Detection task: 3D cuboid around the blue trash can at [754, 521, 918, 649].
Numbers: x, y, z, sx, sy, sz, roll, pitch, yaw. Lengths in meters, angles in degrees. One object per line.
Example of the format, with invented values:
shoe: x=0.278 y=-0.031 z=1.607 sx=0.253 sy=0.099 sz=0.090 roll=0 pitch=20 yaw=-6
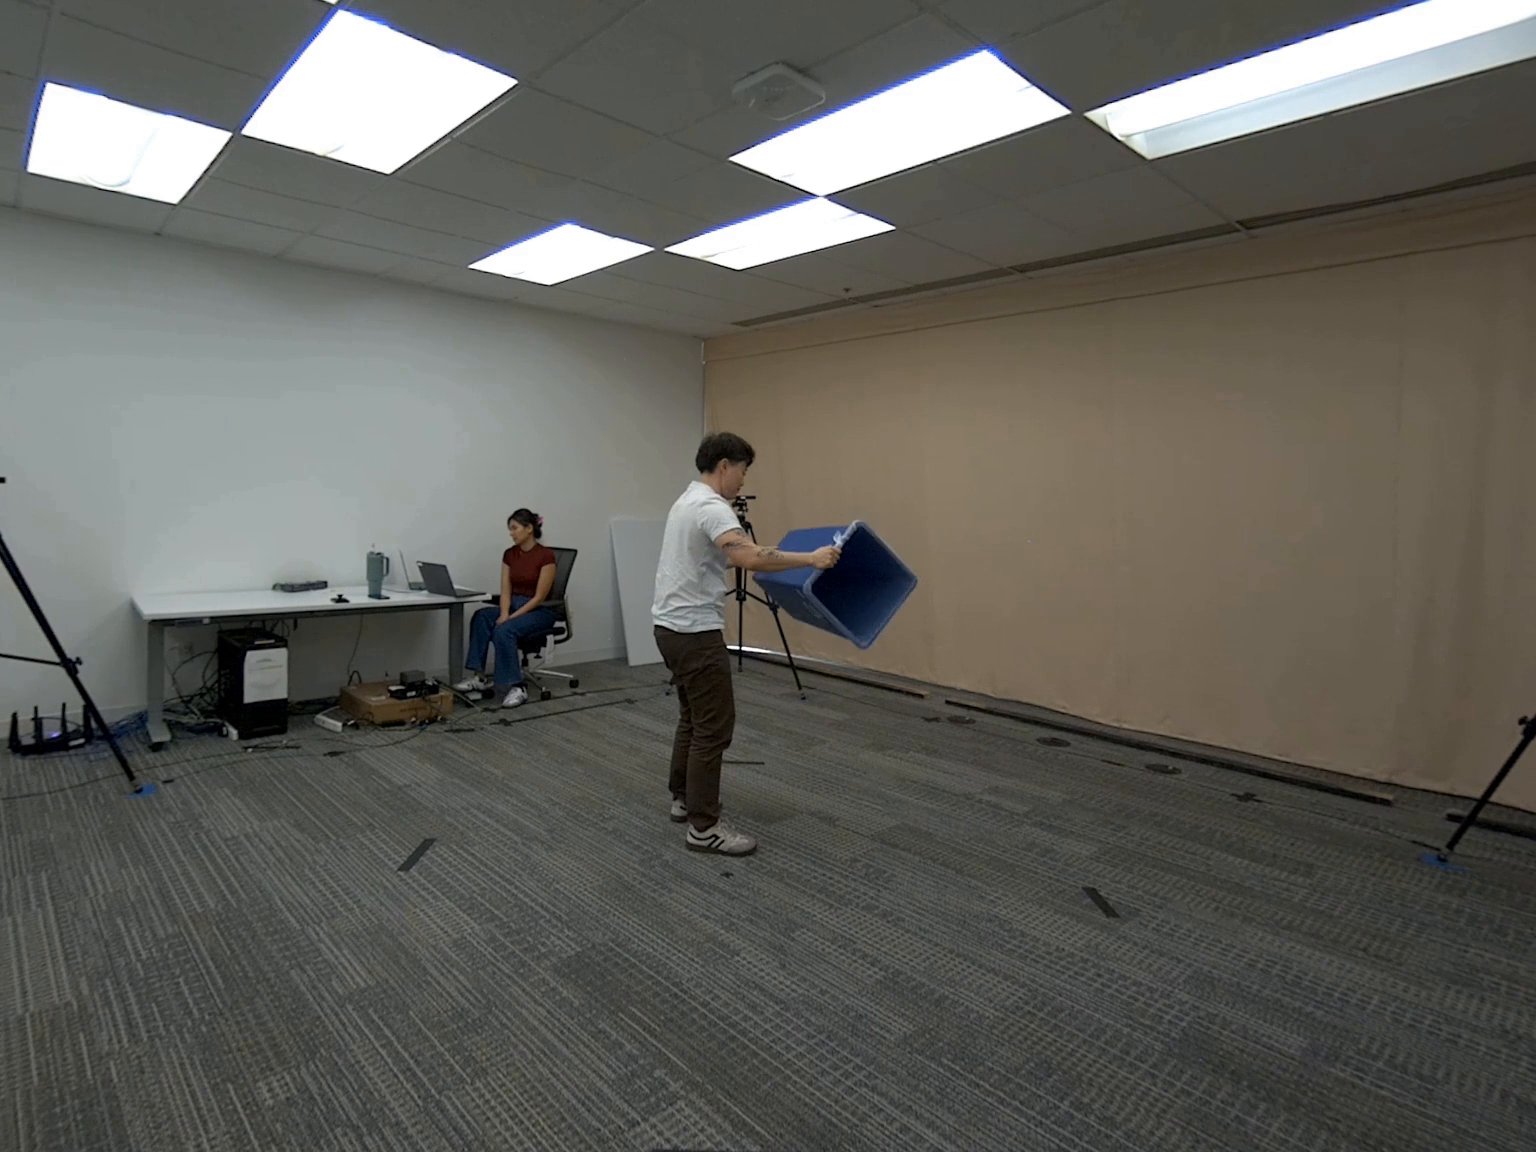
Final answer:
blue trash can: x=0.232 y=0.017 z=3.581 sx=0.372 sy=0.374 sz=0.725 roll=43 pitch=-13 yaw=-16
